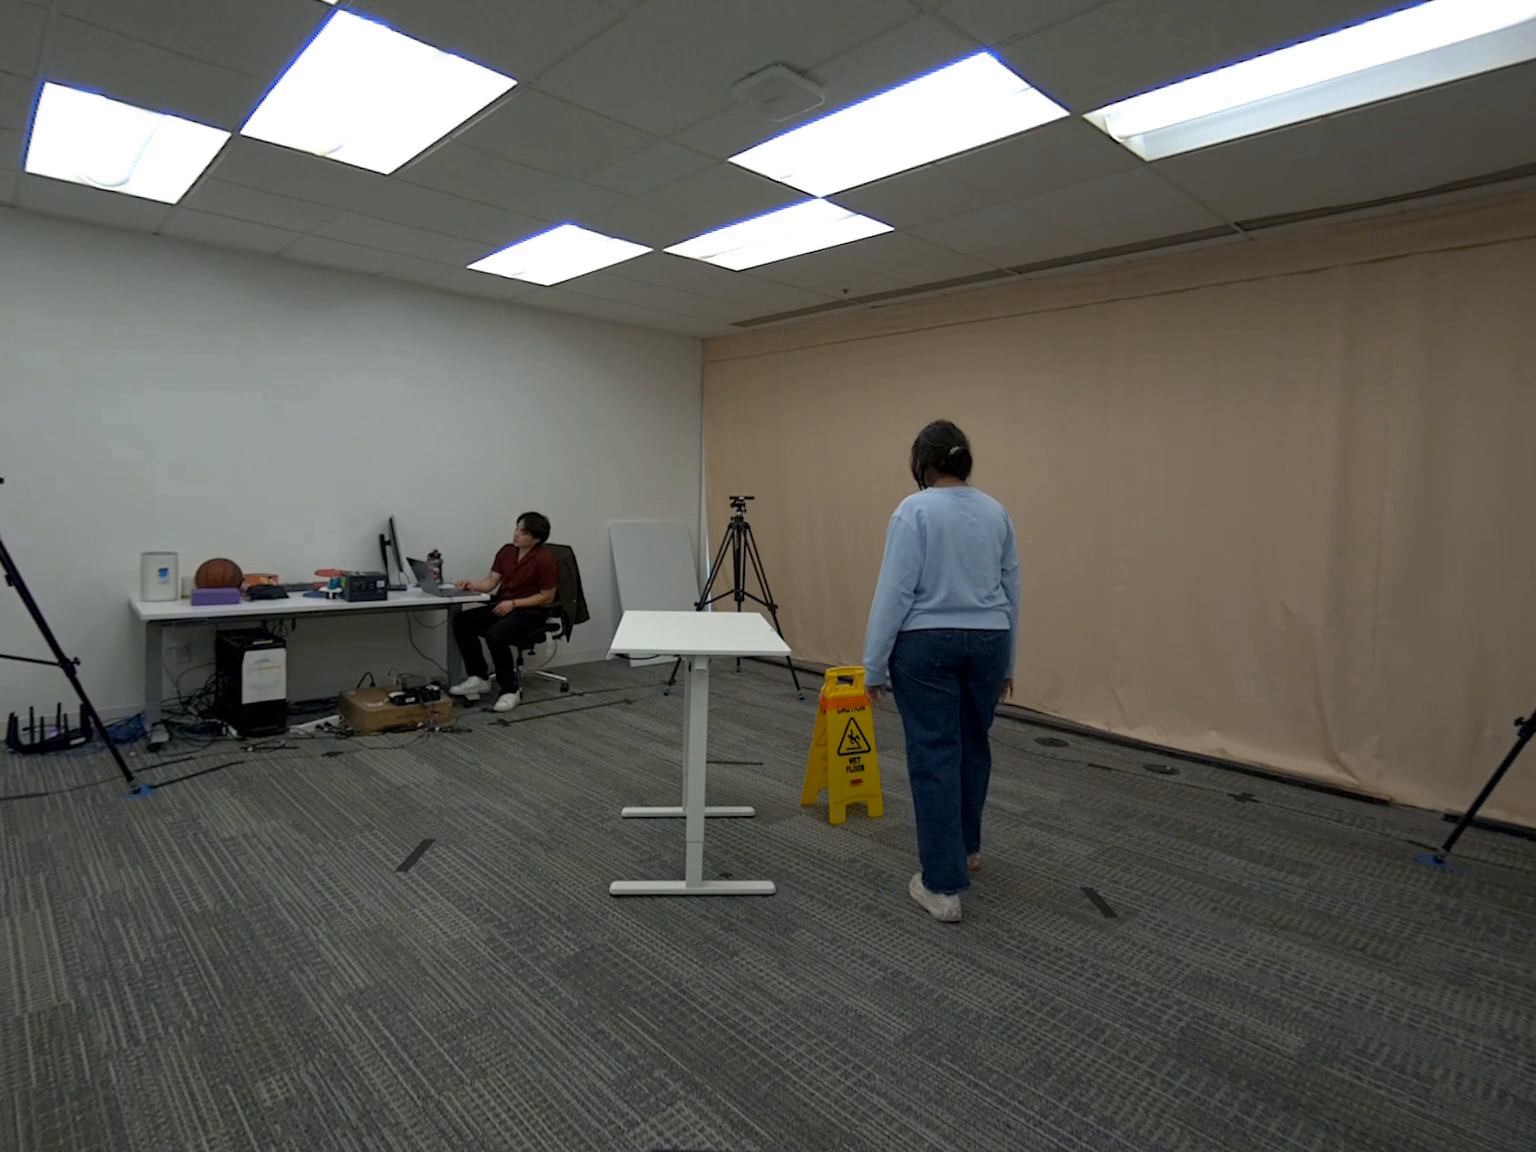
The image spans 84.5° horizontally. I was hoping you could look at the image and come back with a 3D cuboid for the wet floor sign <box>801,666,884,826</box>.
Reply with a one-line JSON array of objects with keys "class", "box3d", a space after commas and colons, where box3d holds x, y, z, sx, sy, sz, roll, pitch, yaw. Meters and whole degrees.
[{"class": "wet floor sign", "box3d": [0.331, 0.734, 3.781, 0.277, 0.645, 0.296, 1, 3, -28]}]
